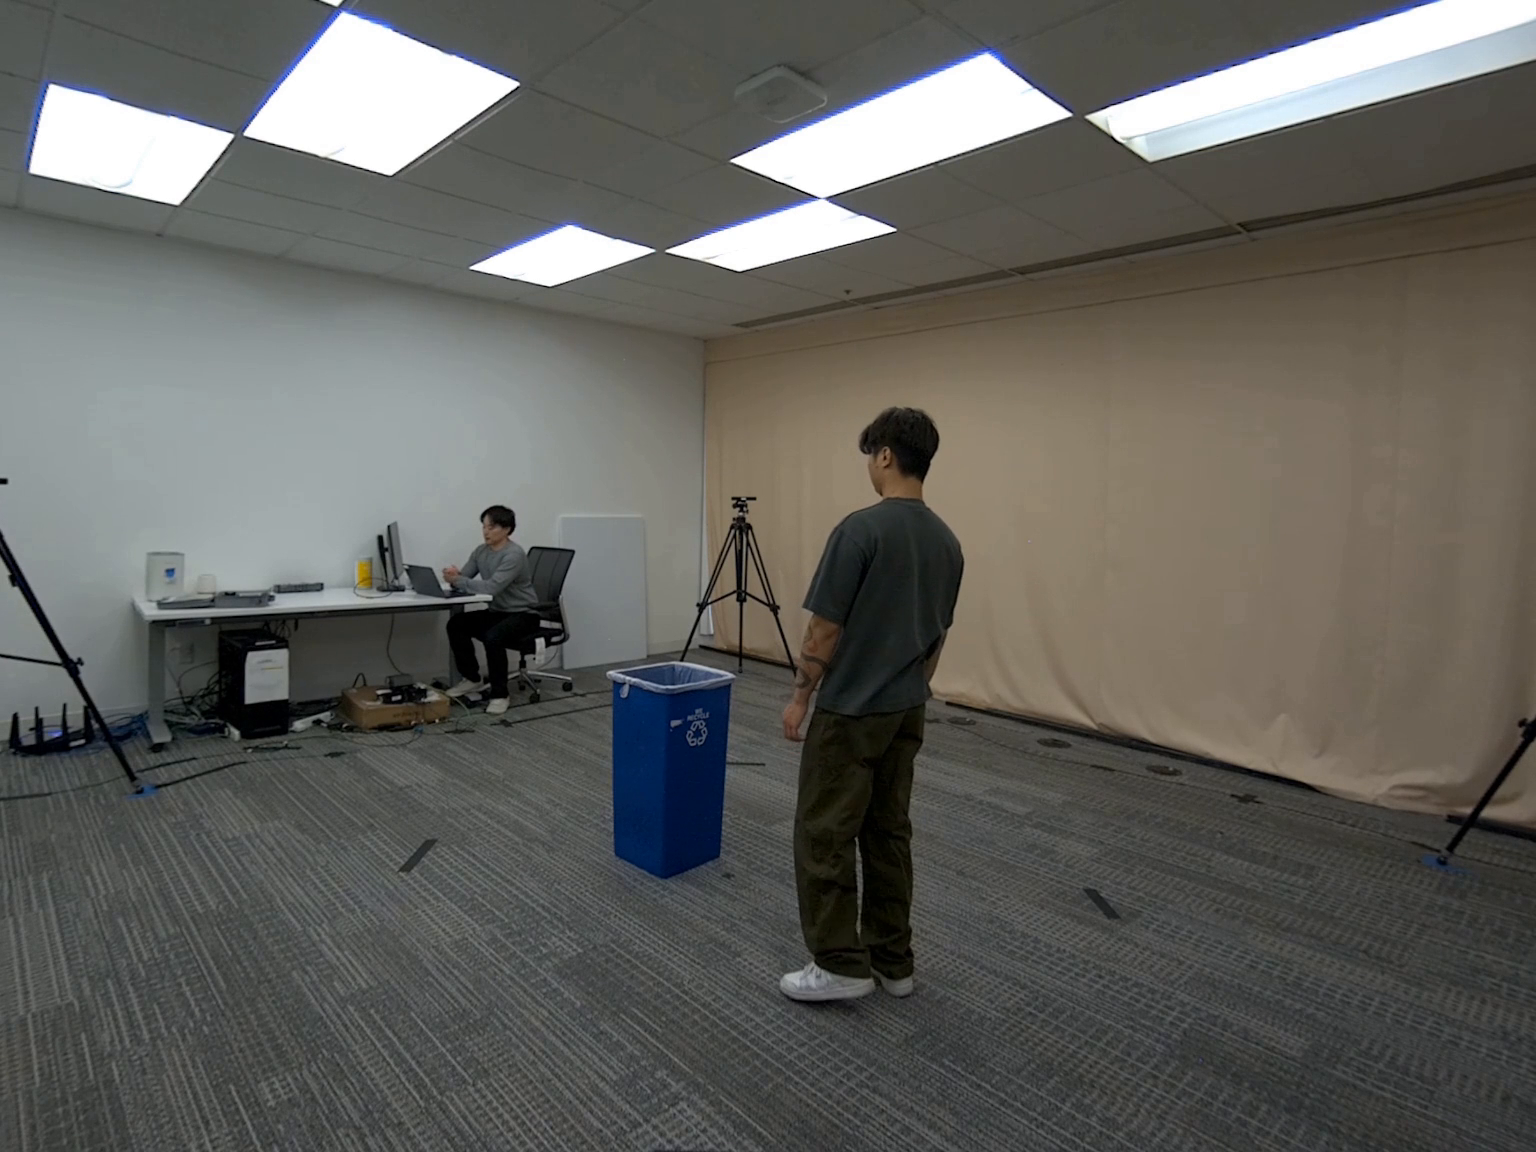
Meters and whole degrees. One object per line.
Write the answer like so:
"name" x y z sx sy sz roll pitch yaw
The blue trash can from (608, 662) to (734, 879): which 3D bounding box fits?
"blue trash can" -0.394 0.731 3.254 0.384 0.712 0.369 5 5 42
